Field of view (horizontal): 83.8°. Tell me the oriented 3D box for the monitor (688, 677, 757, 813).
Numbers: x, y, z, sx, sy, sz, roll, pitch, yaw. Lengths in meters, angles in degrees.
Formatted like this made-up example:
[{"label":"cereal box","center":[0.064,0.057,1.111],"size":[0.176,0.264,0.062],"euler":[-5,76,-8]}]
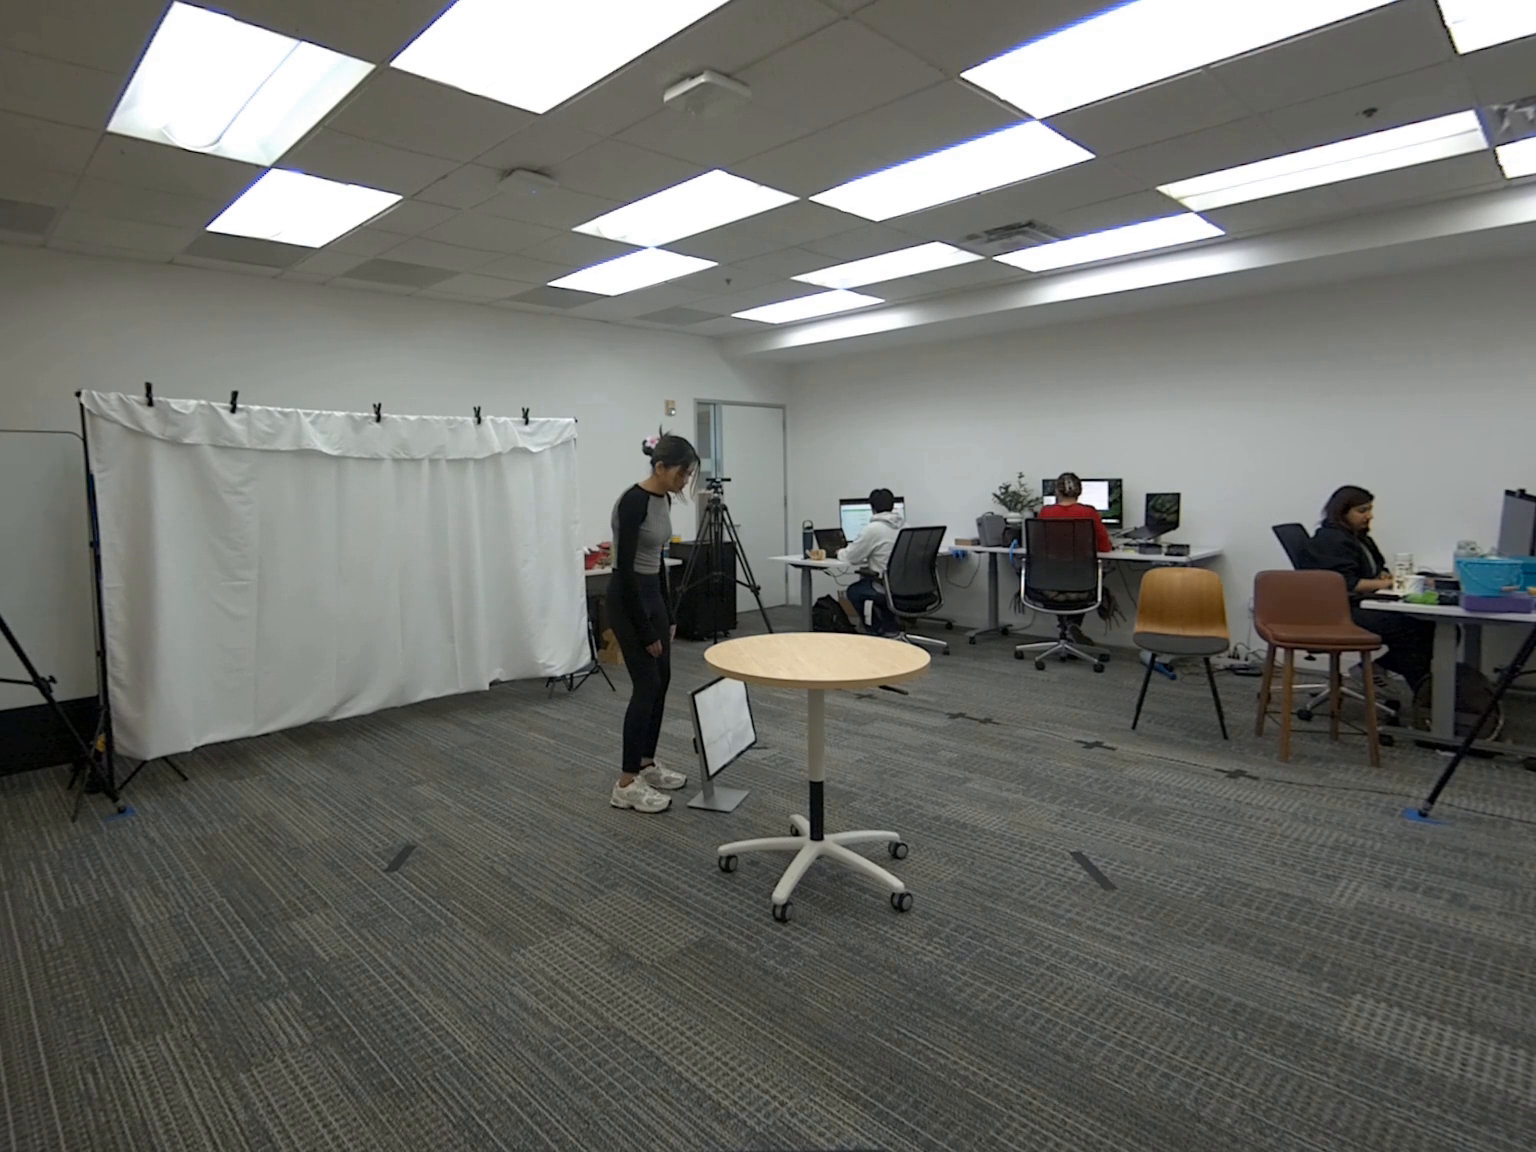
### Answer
[{"label":"monitor","center":[-0.220,0.712,3.704],"size":[0.190,0.521,0.531],"euler":[1,5,18]}]
